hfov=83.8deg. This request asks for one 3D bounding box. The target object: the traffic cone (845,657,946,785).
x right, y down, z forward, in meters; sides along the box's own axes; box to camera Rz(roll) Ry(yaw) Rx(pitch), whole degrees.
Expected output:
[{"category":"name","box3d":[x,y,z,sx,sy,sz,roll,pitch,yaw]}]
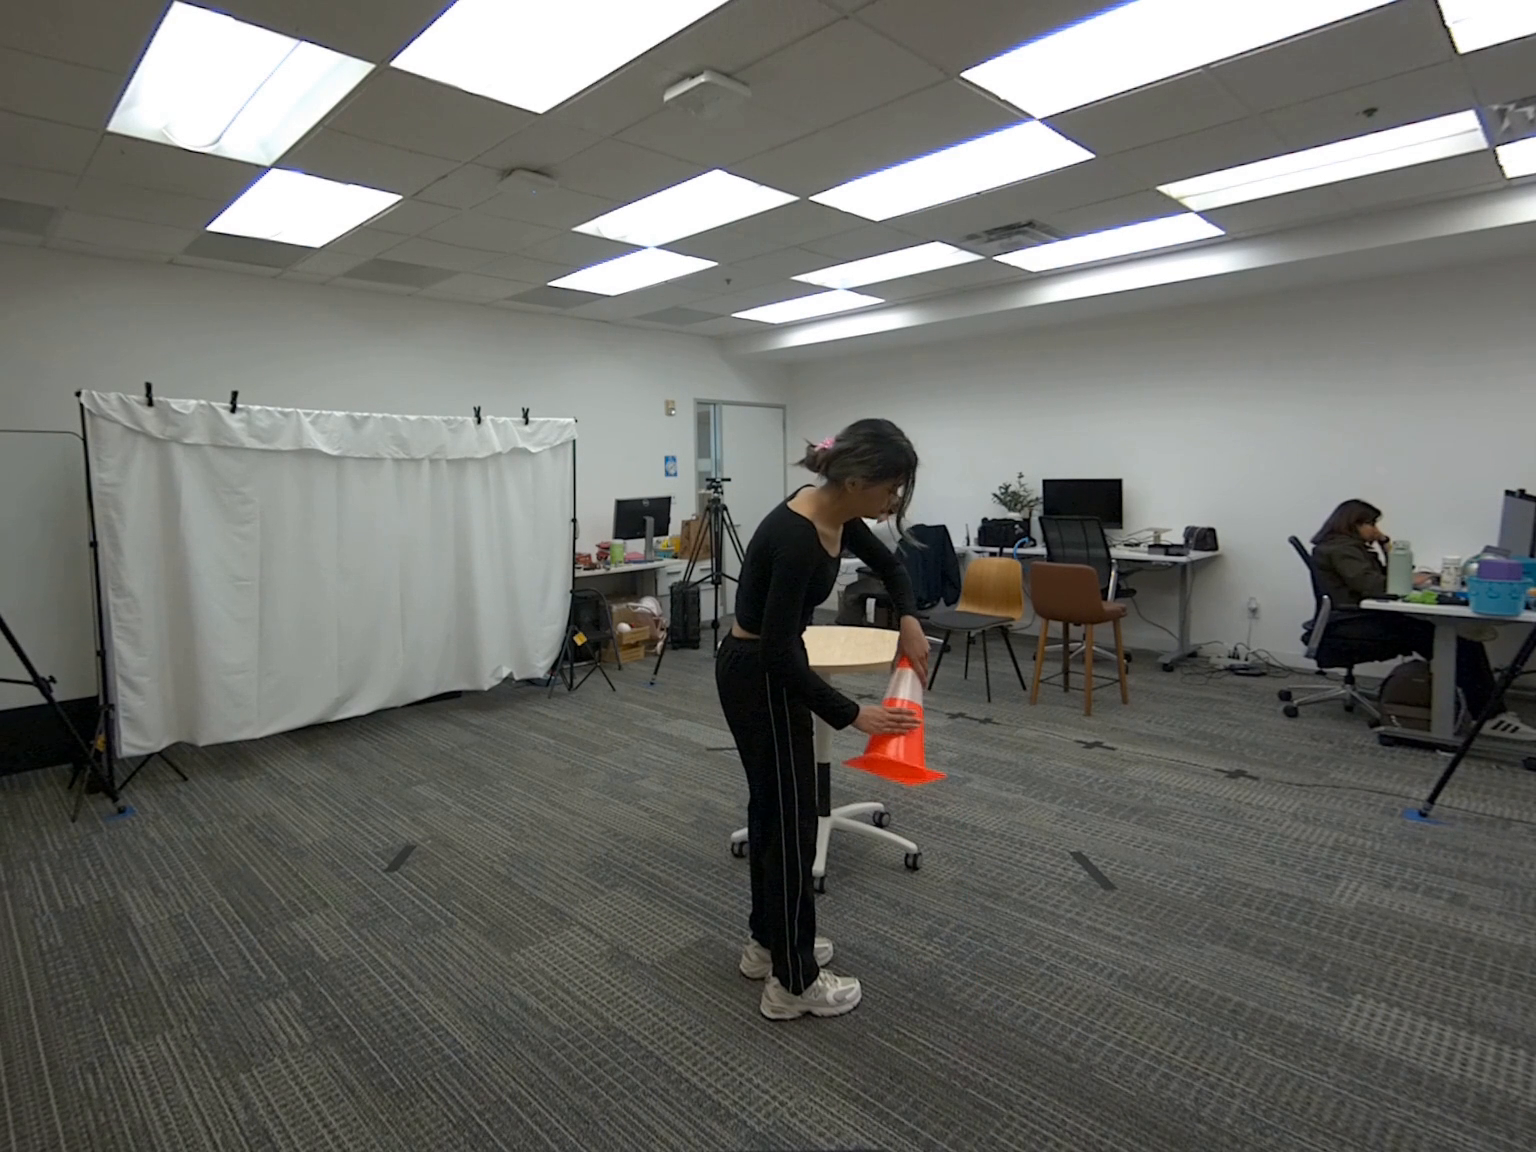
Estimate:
[{"category":"traffic cone","box3d":[0.352,0.313,2.190,0.202,0.389,0.203,15,-22,-6]}]
